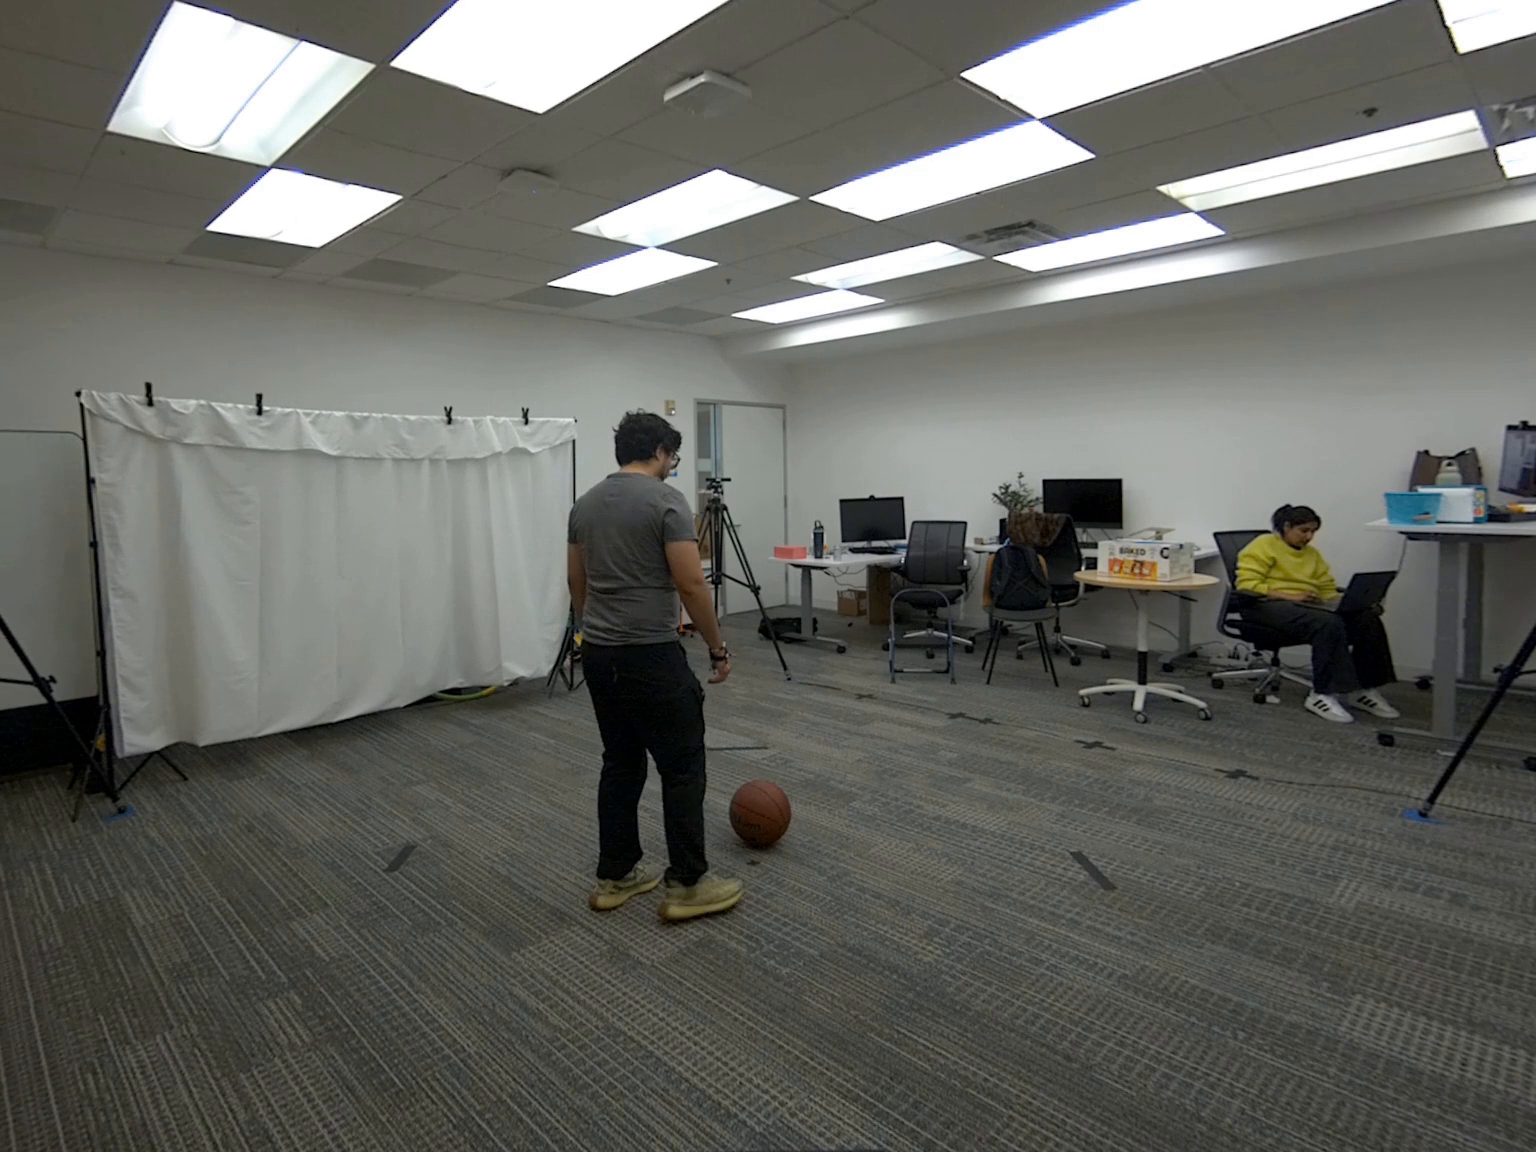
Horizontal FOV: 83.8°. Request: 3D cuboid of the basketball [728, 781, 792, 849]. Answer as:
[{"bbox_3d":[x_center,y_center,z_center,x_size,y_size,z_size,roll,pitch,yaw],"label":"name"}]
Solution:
[{"bbox_3d":[-0.033,0.904,3.269,0.236,0.235,0.237,-1,5,-2],"label":"basketball"}]
